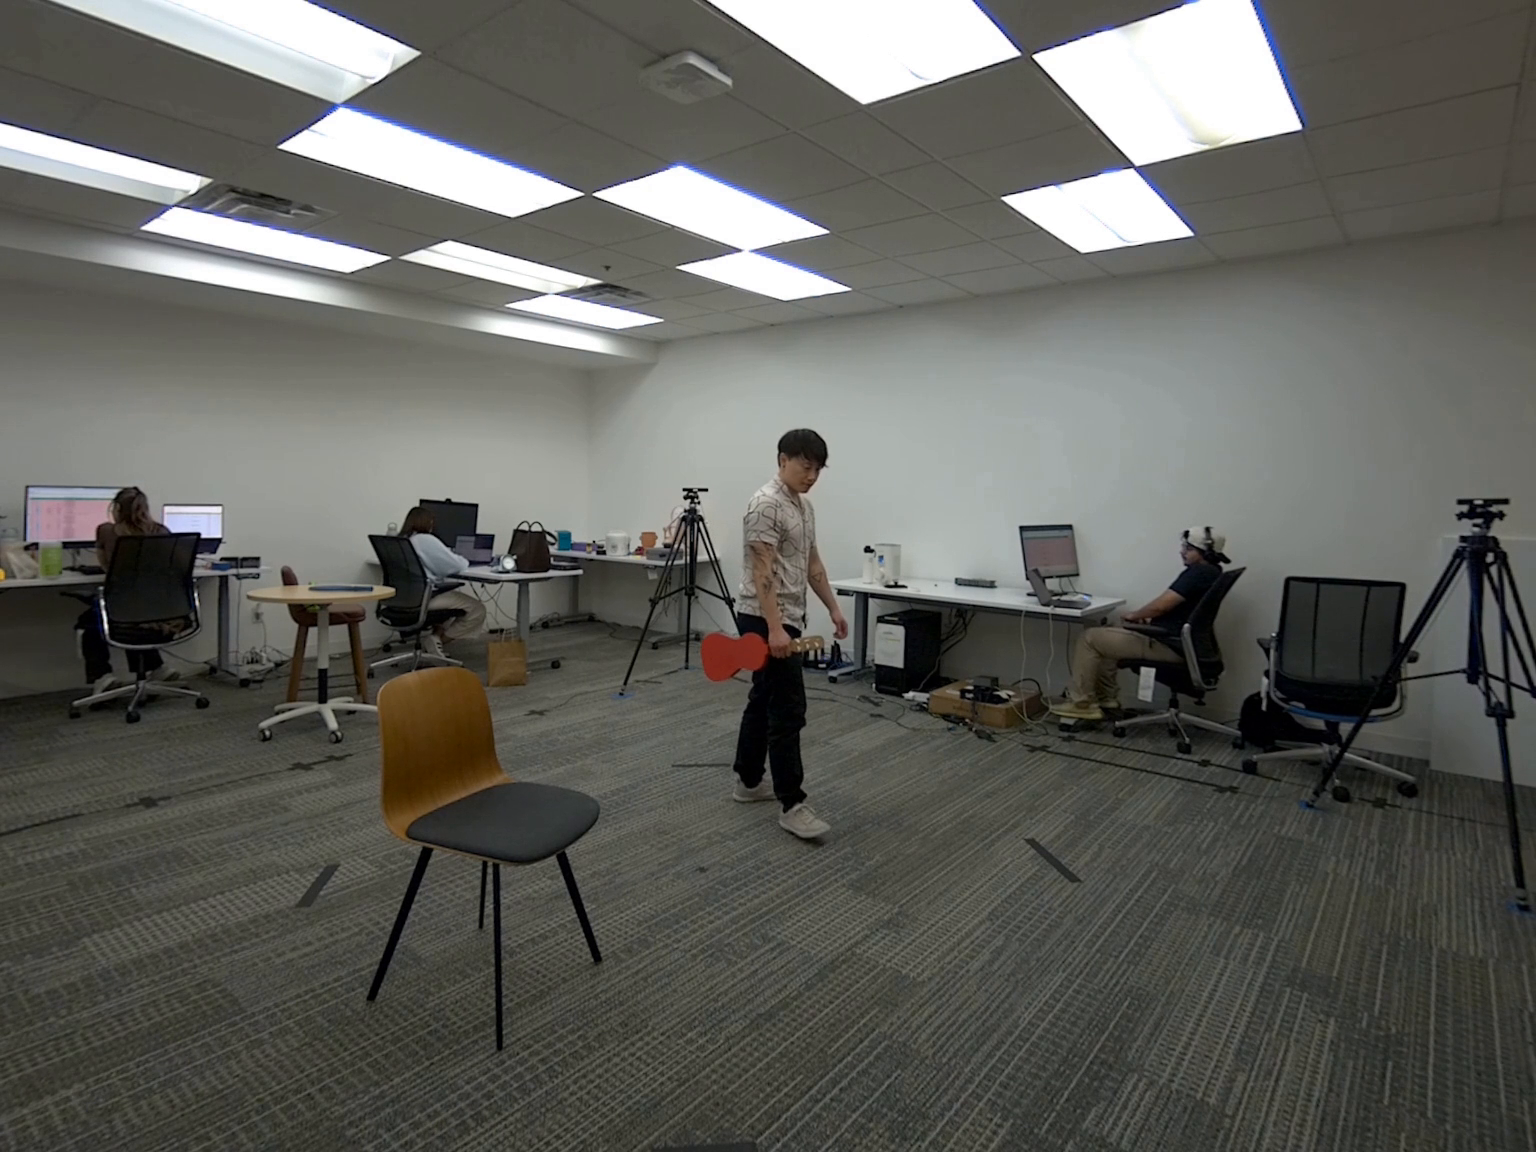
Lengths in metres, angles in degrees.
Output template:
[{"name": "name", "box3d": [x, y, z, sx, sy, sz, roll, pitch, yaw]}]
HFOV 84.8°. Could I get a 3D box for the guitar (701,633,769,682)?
[{"name": "guitar", "box3d": [-0.039, 0.269, 3.410, 0.502, 0.196, 0.069, -19, -14, 13]}]
